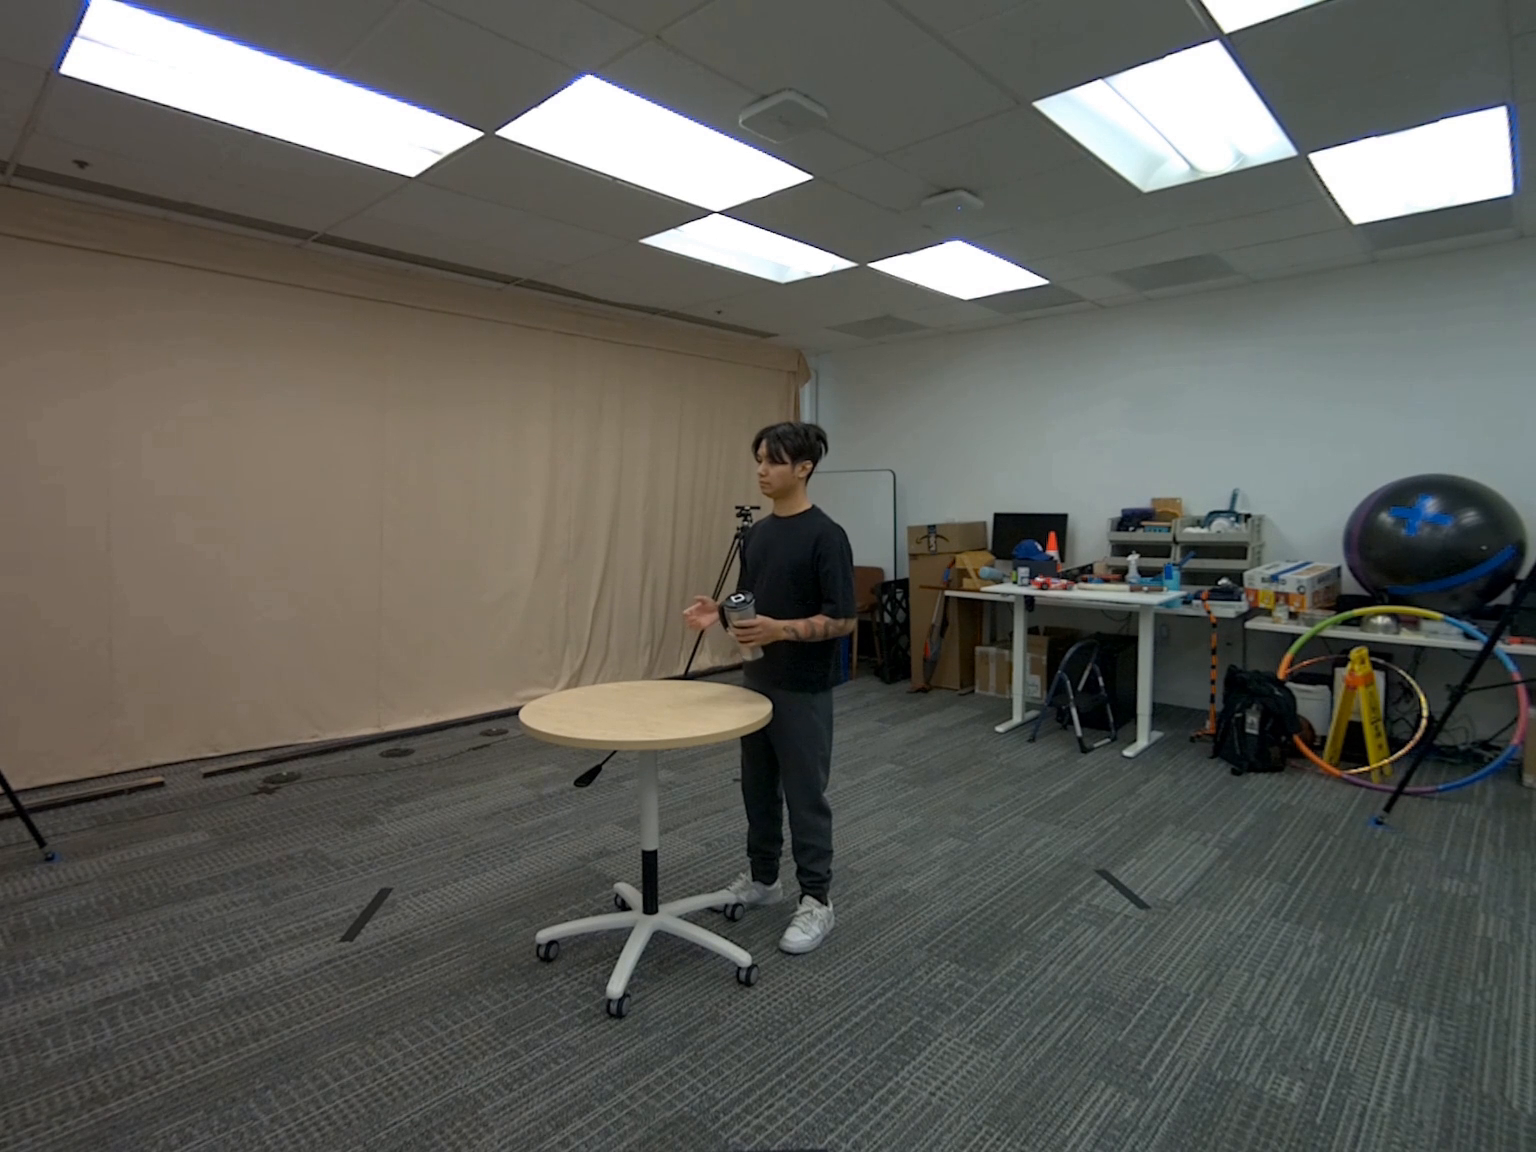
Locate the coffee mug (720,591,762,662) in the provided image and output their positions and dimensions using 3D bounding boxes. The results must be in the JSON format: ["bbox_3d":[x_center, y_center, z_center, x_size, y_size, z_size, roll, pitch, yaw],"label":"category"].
[{"bbox_3d":[-0.070,0.151,2.537,0.086,0.199,0.126,-26,25,-28],"label":"coffee mug"}]
